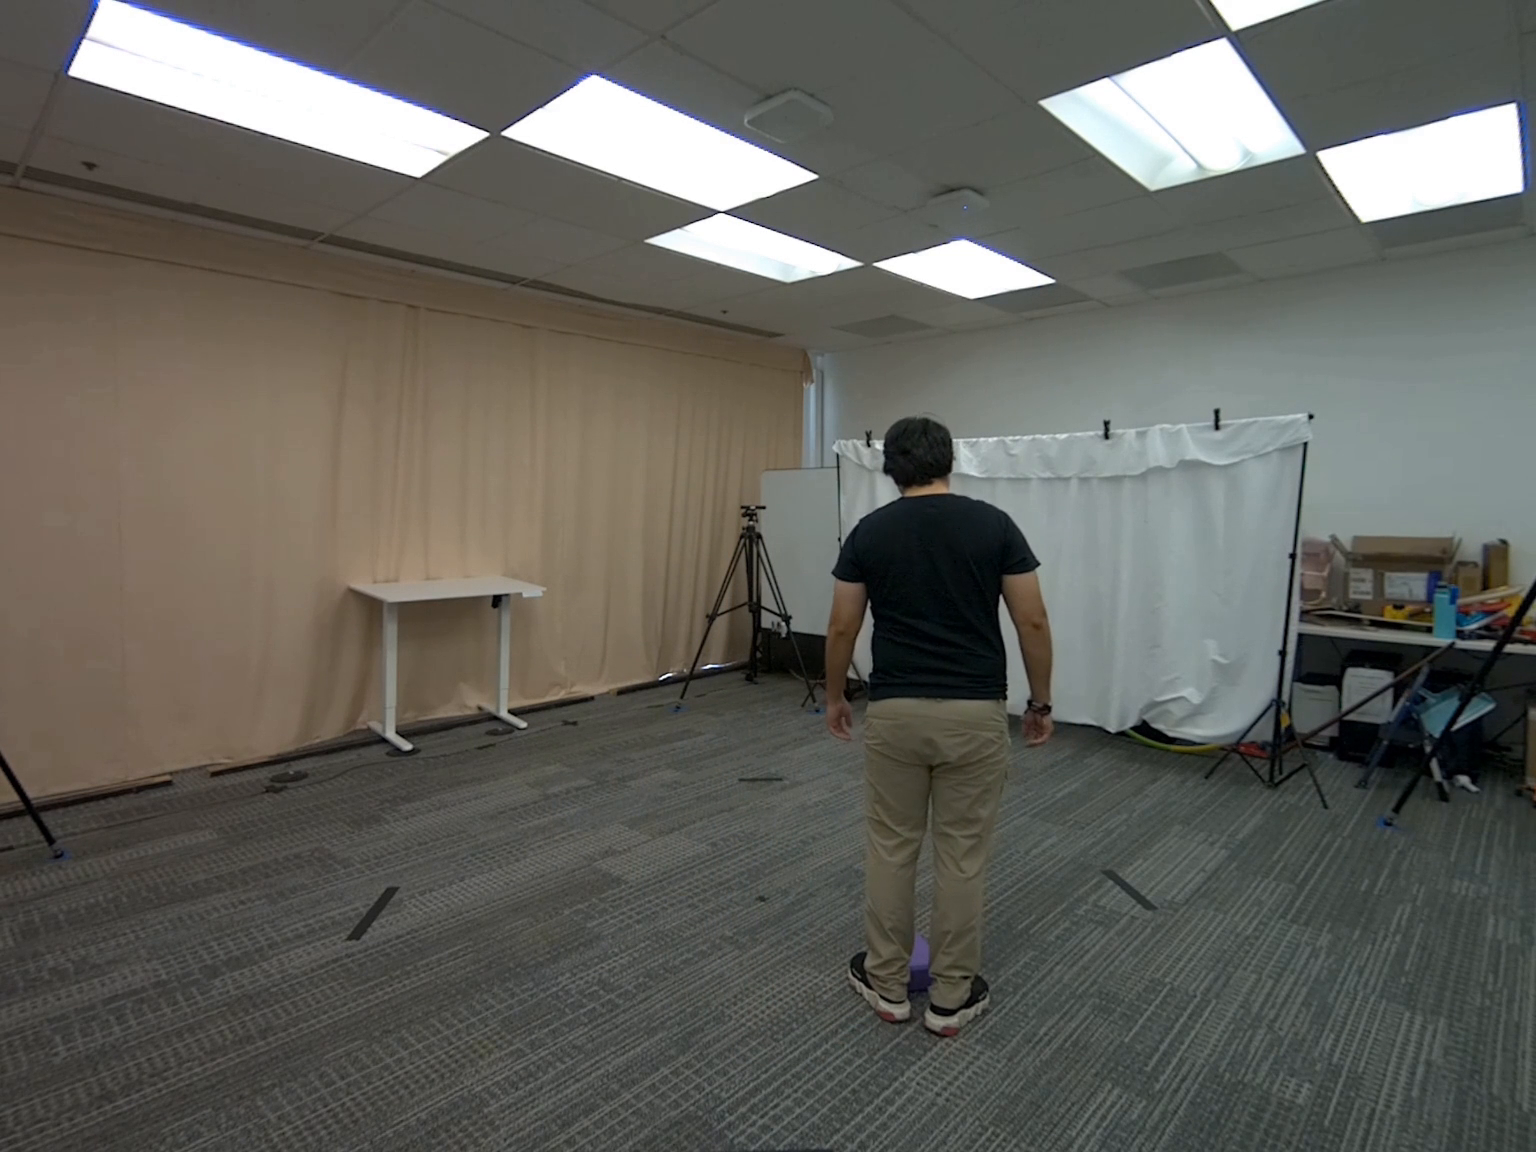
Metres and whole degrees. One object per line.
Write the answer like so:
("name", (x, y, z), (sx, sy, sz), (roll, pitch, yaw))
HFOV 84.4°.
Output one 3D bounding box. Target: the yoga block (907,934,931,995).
("yoga block", (0.421, 1.148, 2.514), (0.147, 0.076, 0.233), (-2, 4, -13))
